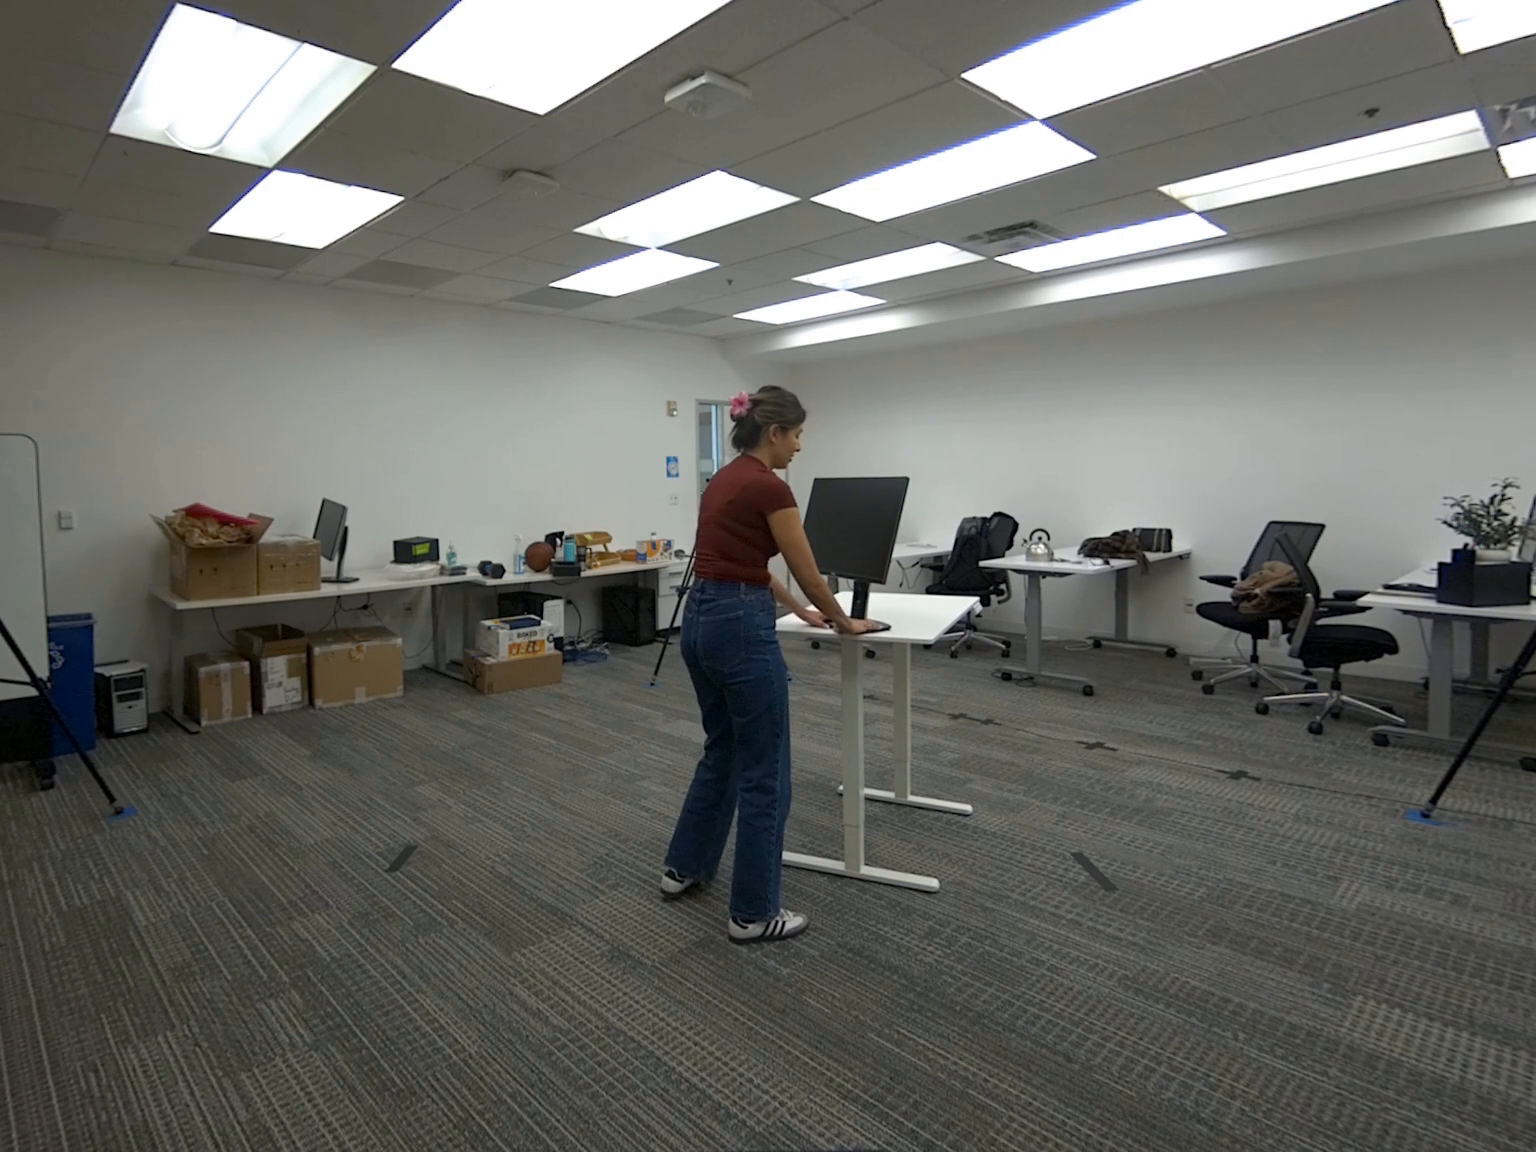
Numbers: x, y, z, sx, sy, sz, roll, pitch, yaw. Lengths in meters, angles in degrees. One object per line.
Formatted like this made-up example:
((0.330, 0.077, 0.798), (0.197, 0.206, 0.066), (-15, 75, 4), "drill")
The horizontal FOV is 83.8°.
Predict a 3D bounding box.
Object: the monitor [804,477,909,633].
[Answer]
((0.289, -0.080, 2.944), (0.183, 0.521, 0.553), (0, 4, -28), "monitor")
